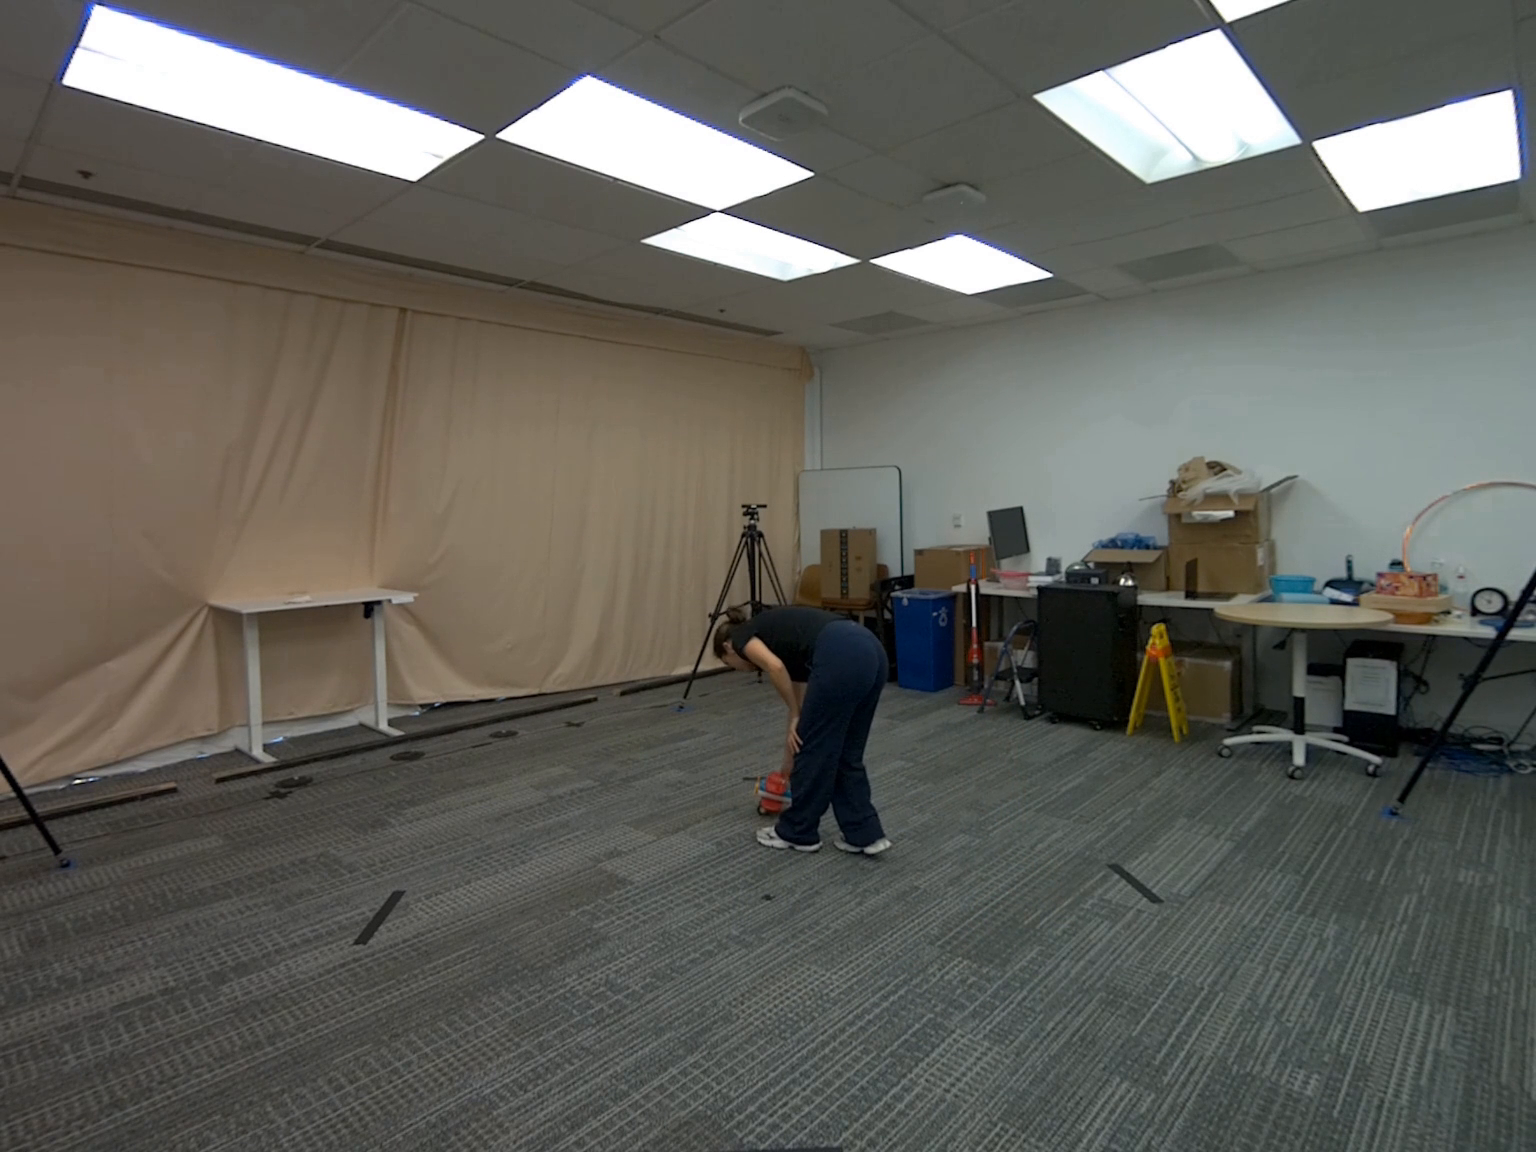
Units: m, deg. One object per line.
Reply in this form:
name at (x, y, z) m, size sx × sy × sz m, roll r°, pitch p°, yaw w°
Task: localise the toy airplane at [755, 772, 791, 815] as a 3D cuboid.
toy airplane at (0.072, 0.994, 3.821) m, size 0.254 × 0.156 × 0.257 m, roll -3°, pitch 4°, yaw -21°
